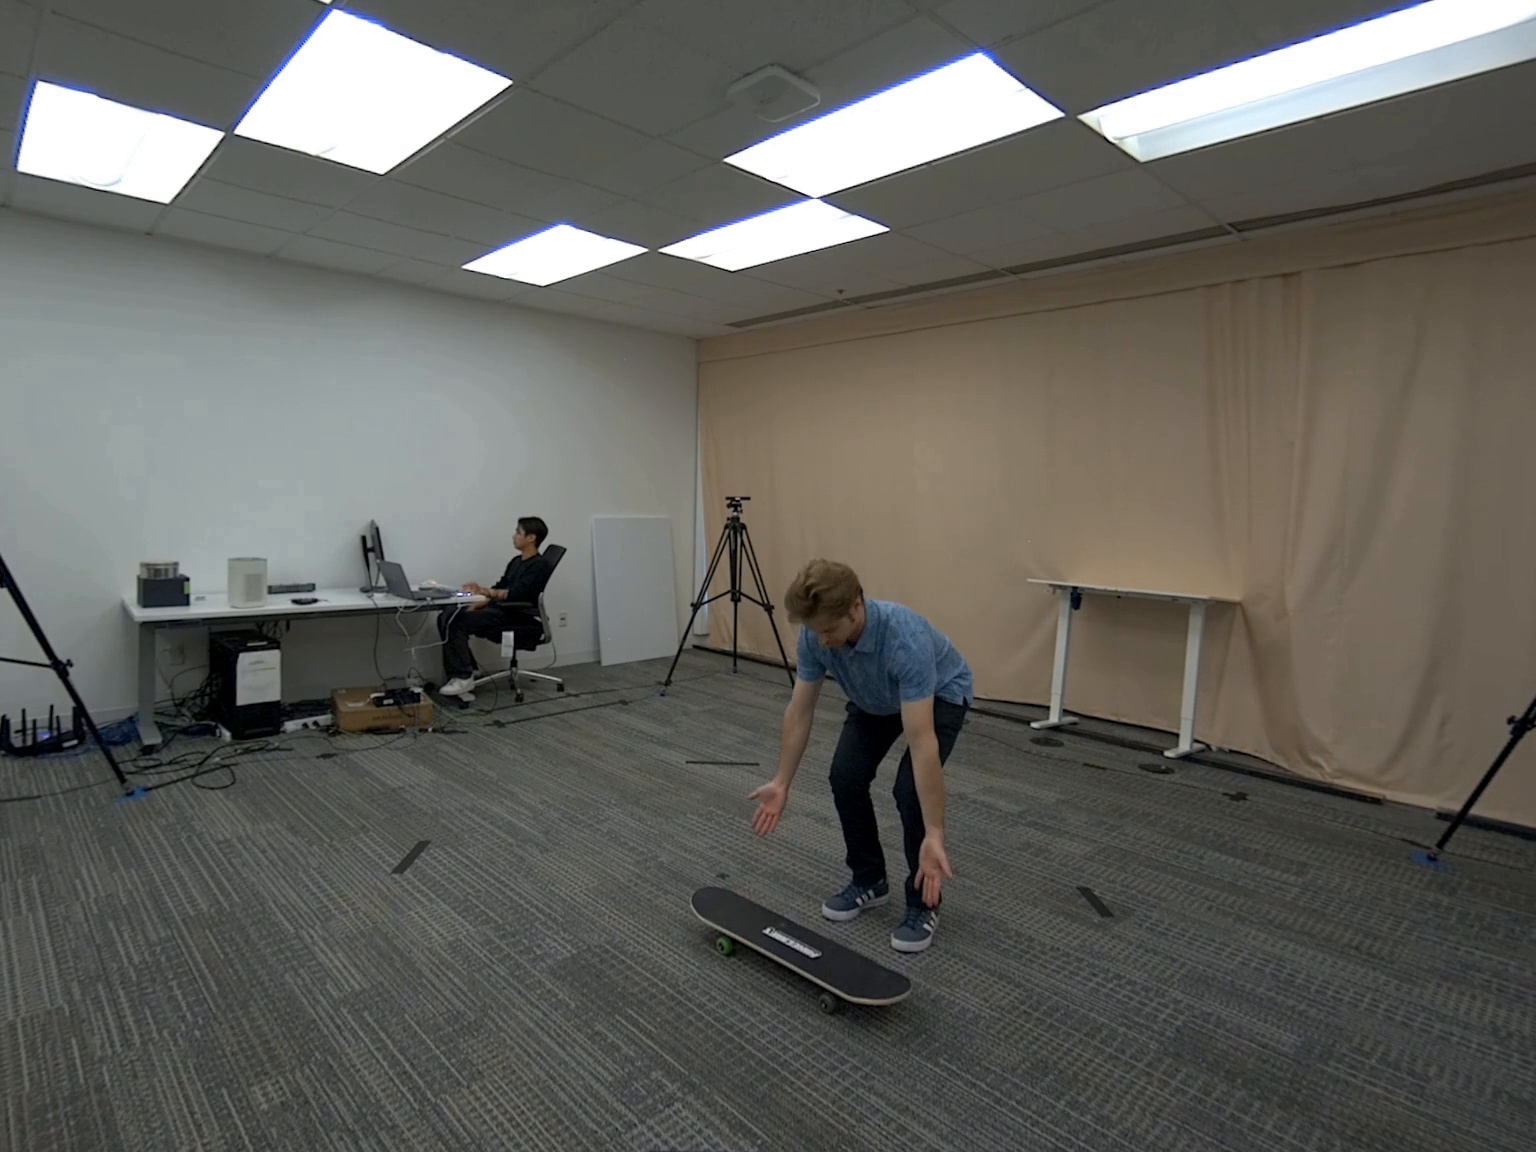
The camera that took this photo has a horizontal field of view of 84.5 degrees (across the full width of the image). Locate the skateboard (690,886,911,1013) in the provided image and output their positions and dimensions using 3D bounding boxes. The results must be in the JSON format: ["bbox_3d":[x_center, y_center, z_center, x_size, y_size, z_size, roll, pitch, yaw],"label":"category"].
[{"bbox_3d":[0.061,1.114,2.483,0.806,0.110,0.189,6,7,43],"label":"skateboard"}]
